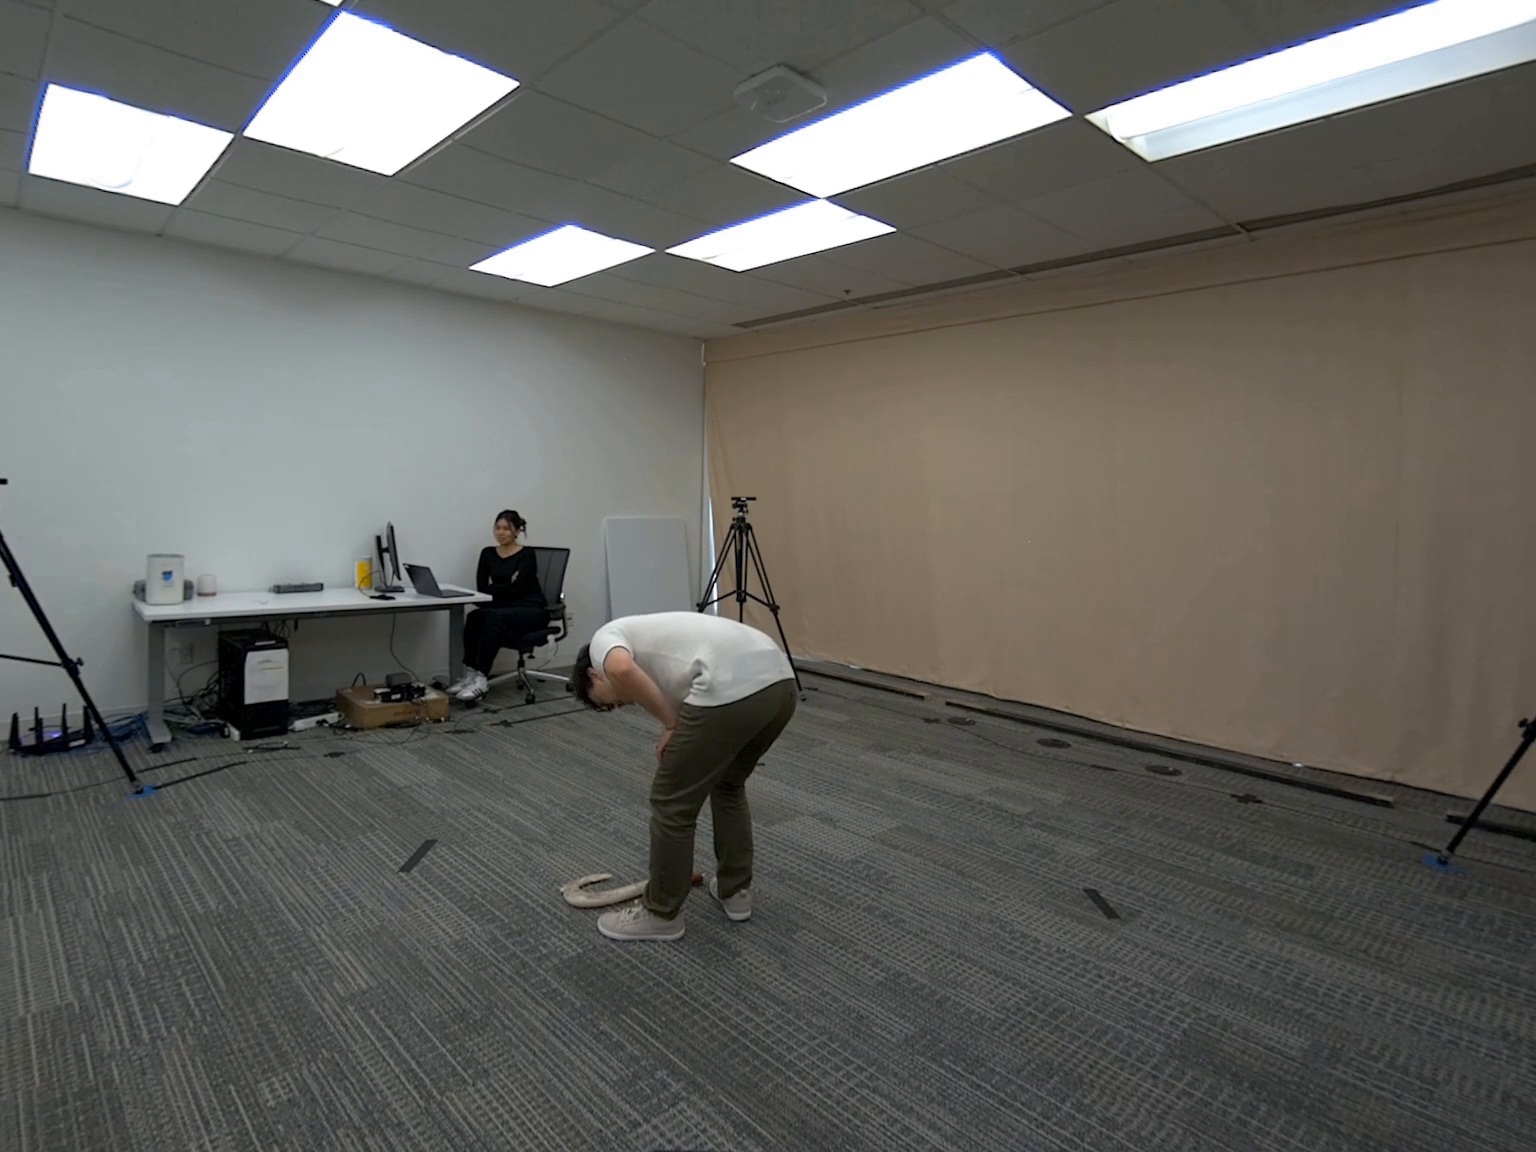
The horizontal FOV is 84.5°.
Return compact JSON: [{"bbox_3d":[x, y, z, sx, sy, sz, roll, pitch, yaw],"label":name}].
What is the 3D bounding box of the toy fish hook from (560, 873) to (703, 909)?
[{"bbox_3d":[-0.474,1.084,2.981,0.498,0.048,0.229,-1,7,-25],"label":"toy fish hook"}]
